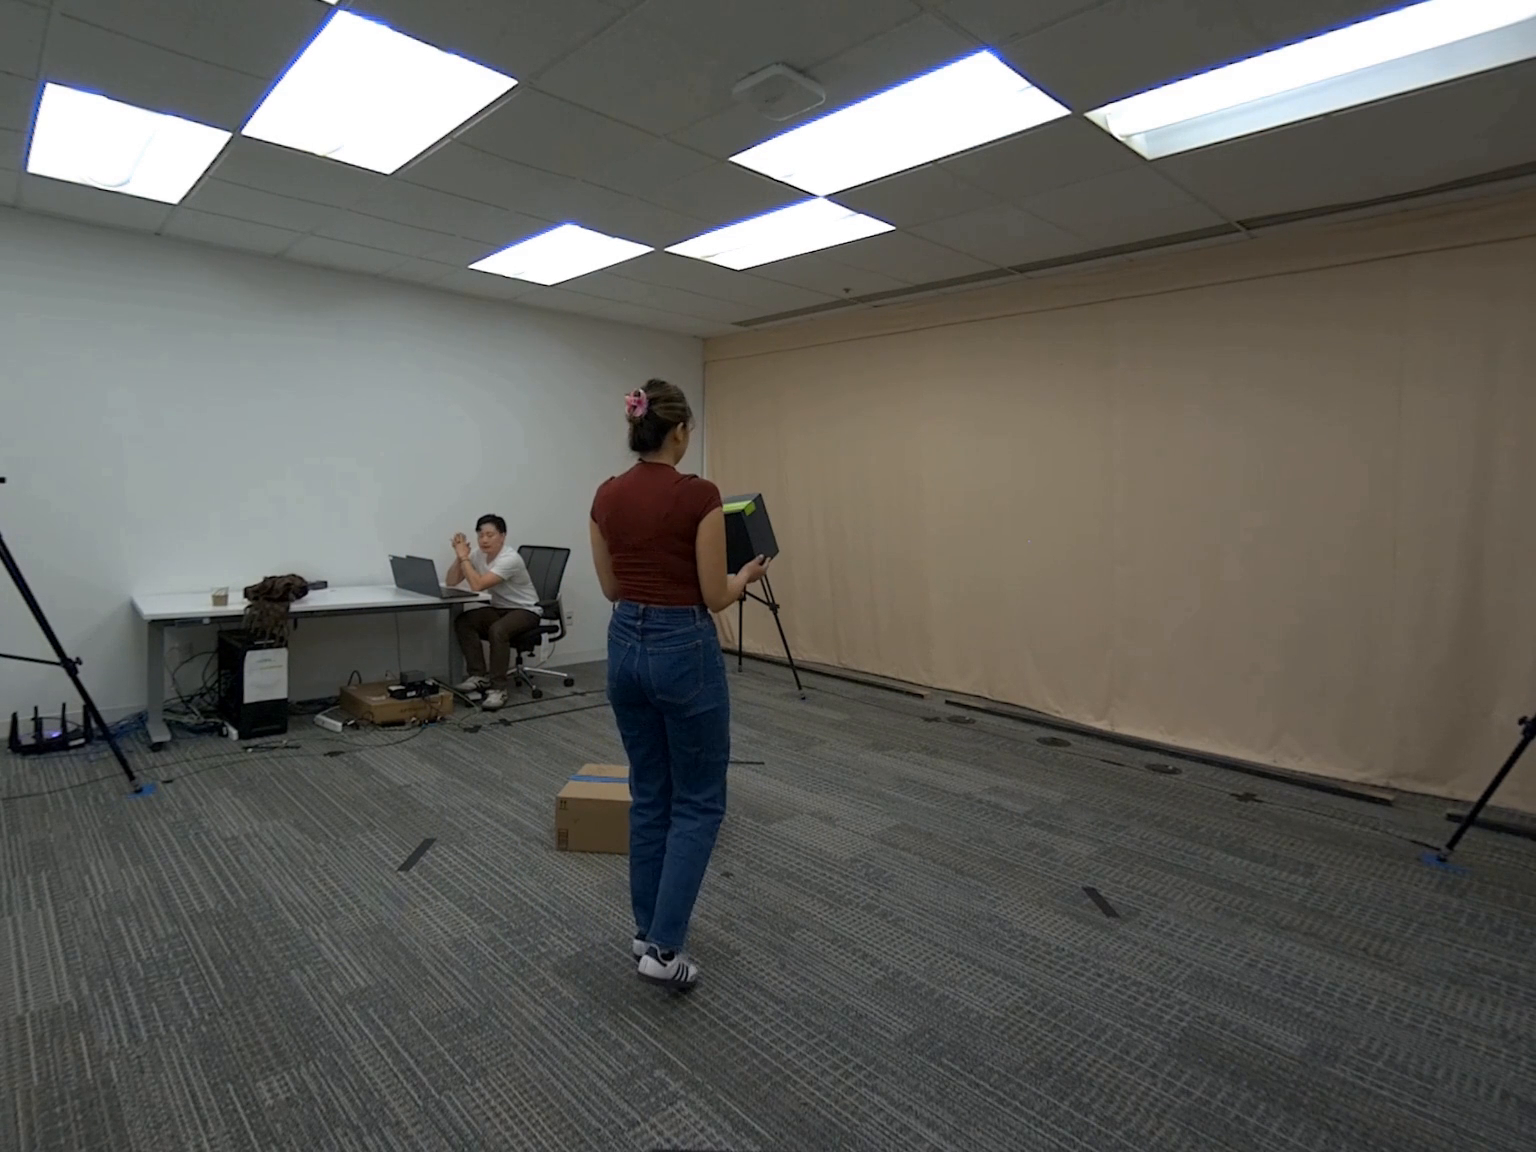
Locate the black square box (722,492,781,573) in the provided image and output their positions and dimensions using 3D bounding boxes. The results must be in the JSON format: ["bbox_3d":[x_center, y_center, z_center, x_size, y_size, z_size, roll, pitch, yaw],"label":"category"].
[{"bbox_3d":[-0.123,-0.131,2.767,0.232,0.213,0.155,-6,22,32],"label":"black square box"}]
